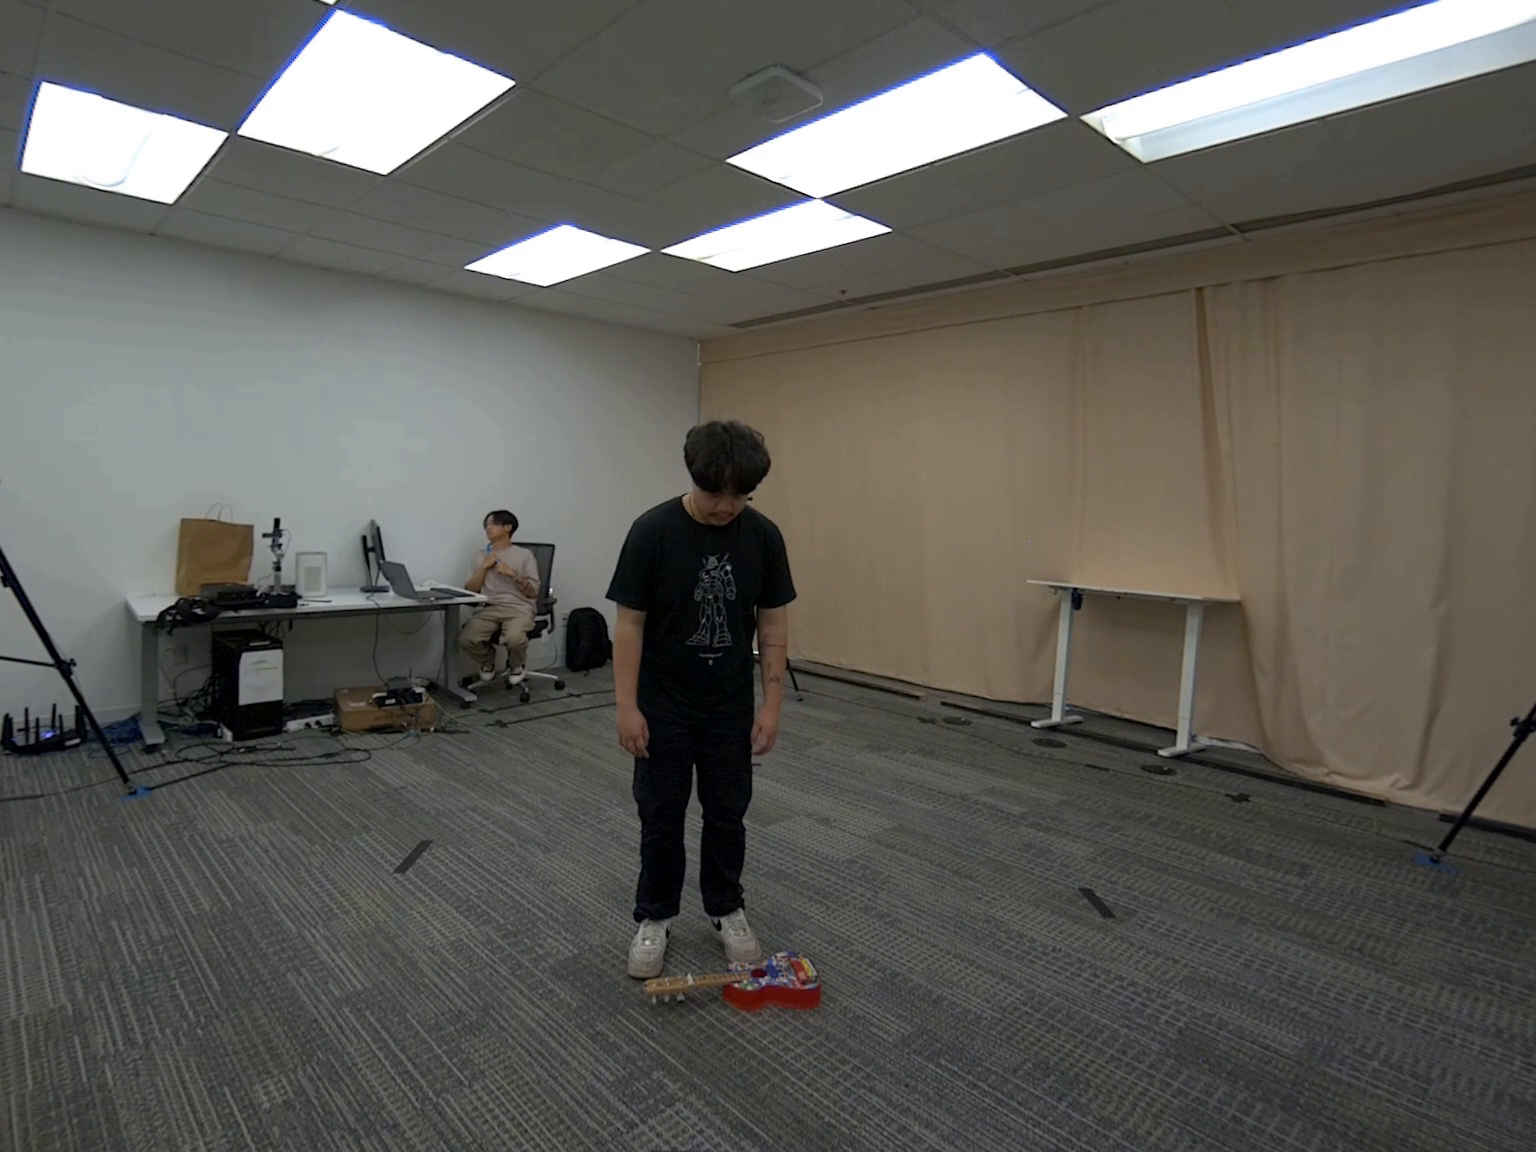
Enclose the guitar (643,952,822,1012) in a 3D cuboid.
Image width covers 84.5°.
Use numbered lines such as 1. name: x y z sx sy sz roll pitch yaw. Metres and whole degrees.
1. guitar: -0.108 1.141 2.375 0.495 0.070 0.195 1 6 -7
